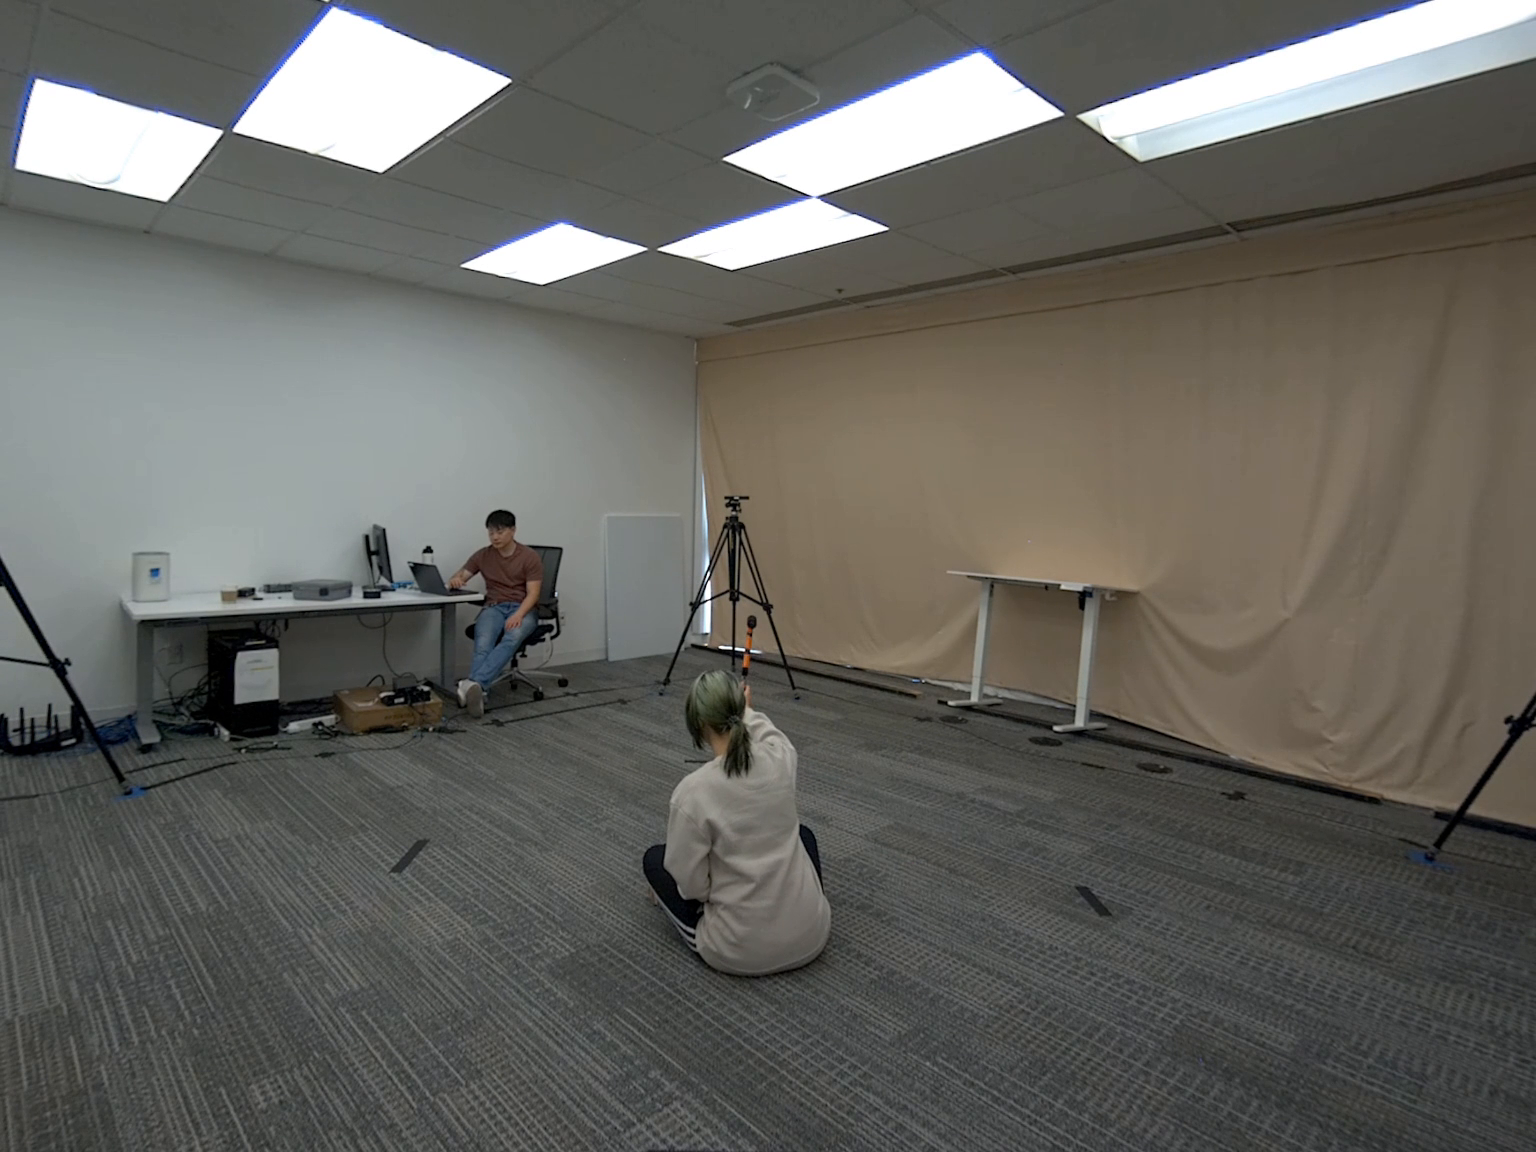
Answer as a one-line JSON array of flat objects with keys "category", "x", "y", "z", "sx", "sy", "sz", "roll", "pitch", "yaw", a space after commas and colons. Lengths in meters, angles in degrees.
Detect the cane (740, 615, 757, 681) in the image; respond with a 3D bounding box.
[{"category": "cane", "x": -0.113, "y": 0.613, "z": 3.264, "sx": 0.152, "sy": 0.905, "sz": 0.207, "roll": 6, "pitch": 4, "yaw": 0}]
